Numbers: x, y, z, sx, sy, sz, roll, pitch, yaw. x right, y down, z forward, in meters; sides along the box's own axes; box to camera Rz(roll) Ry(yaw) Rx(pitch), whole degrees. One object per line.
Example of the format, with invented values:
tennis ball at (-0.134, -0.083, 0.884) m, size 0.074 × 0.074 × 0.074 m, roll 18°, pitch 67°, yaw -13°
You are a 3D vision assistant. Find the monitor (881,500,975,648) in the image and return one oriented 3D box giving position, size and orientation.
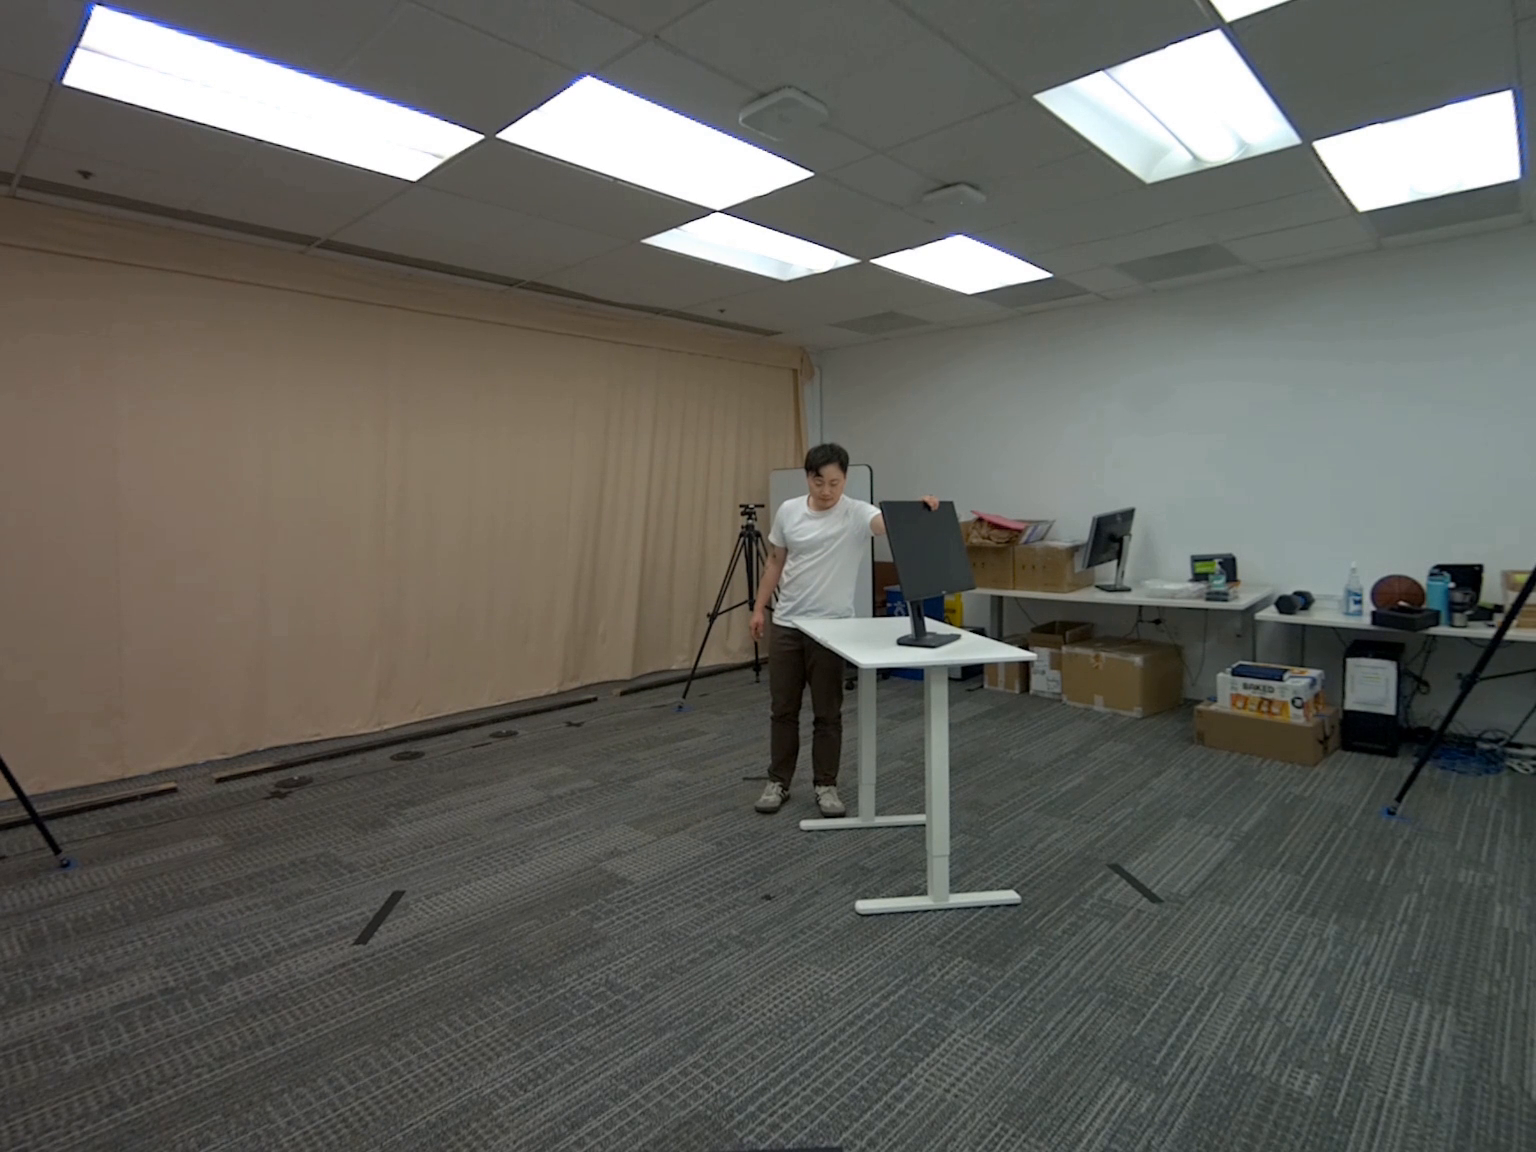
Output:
monitor at (0.581, -0.011, 3.076) m, size 0.193 × 0.522 × 0.523 m, roll 0°, pitch 3°, yaw 38°
